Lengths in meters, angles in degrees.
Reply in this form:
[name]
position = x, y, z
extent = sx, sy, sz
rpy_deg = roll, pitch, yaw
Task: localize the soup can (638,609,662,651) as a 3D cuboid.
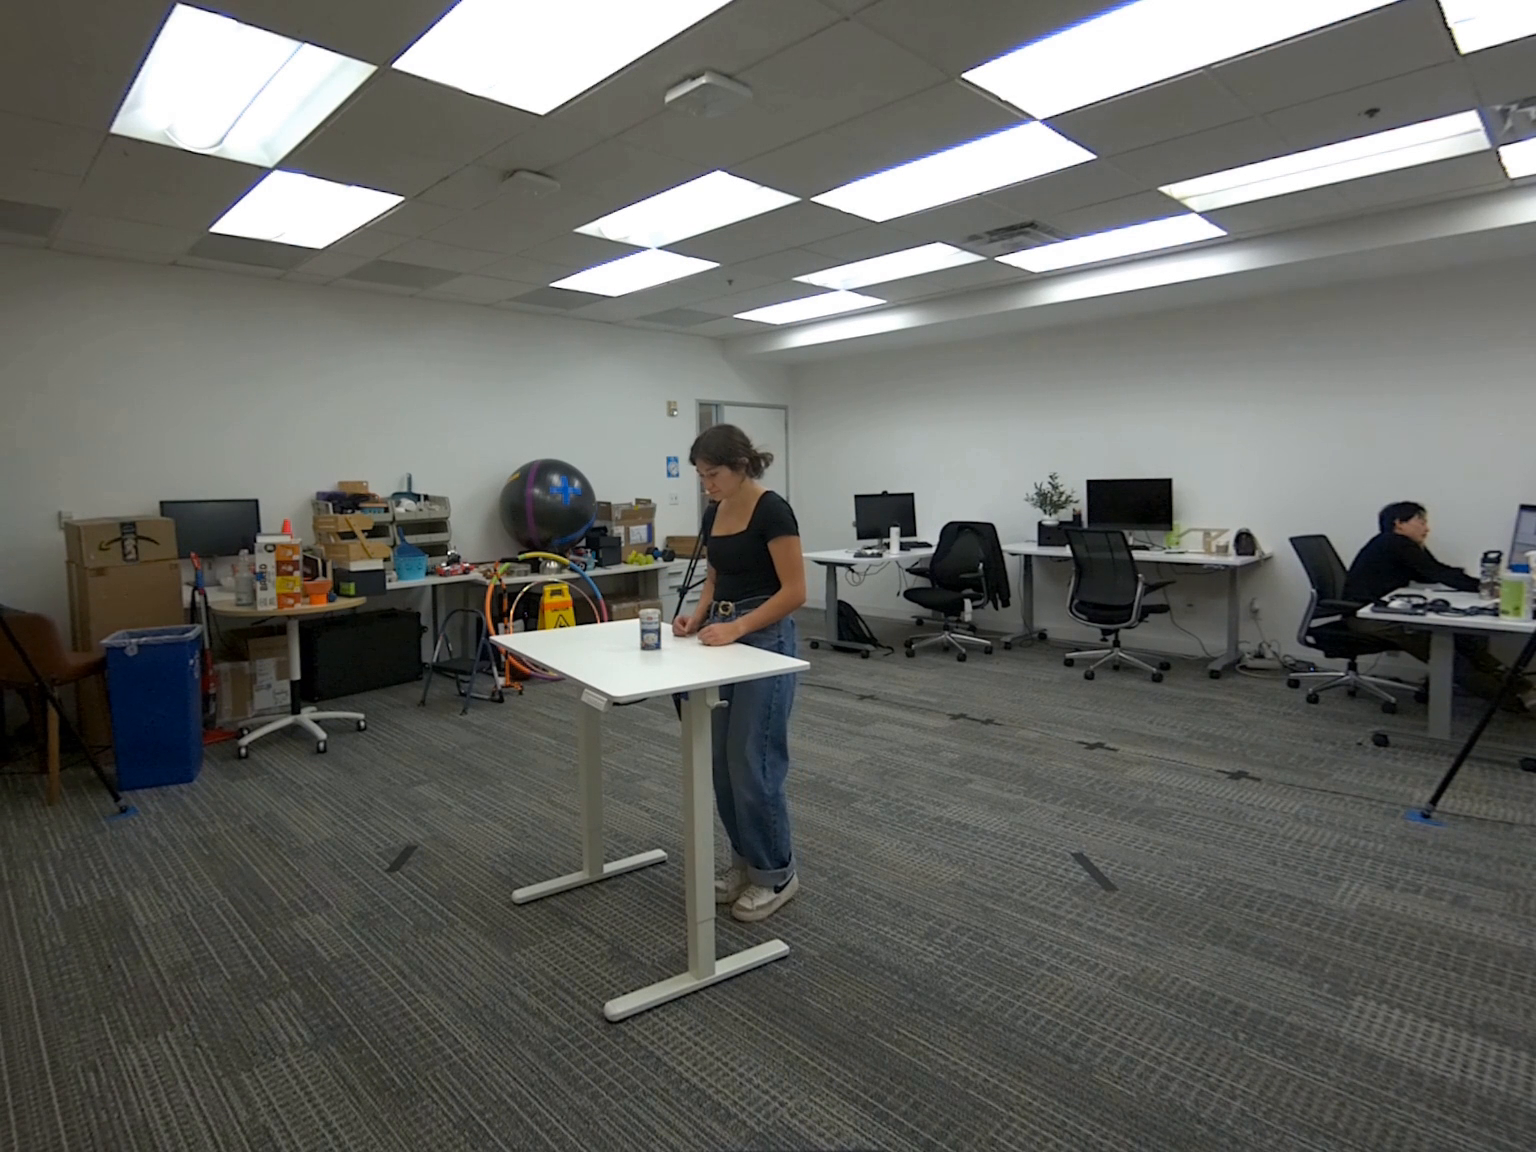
[soup can]
position = -0.361, 0.169, 2.623
extent = 0.067, 0.121, 0.067
rpy_deg = -3, 5, -1
